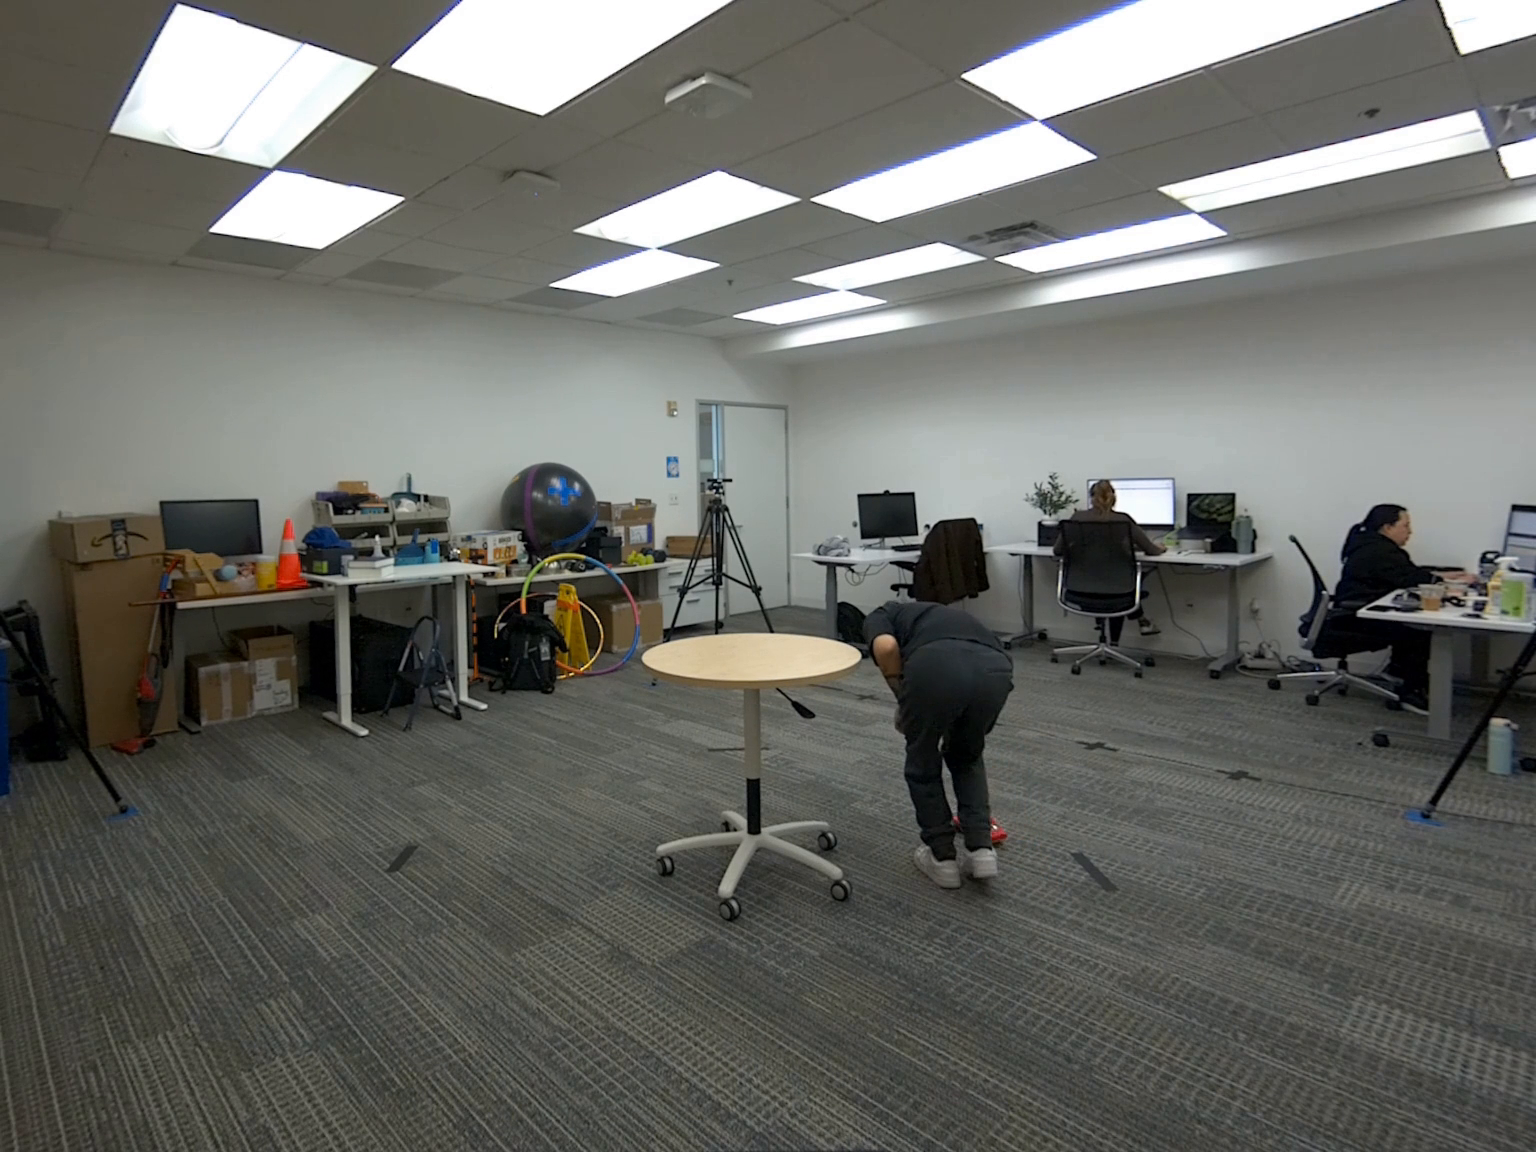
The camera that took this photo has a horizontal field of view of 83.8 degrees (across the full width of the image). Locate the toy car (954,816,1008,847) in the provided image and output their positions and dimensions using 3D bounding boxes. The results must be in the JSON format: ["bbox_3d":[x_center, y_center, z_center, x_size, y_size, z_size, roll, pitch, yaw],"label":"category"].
[{"bbox_3d":[0.828,0.982,3.301,0.128,0.084,0.257,-2,-4,-19],"label":"toy car"}]
